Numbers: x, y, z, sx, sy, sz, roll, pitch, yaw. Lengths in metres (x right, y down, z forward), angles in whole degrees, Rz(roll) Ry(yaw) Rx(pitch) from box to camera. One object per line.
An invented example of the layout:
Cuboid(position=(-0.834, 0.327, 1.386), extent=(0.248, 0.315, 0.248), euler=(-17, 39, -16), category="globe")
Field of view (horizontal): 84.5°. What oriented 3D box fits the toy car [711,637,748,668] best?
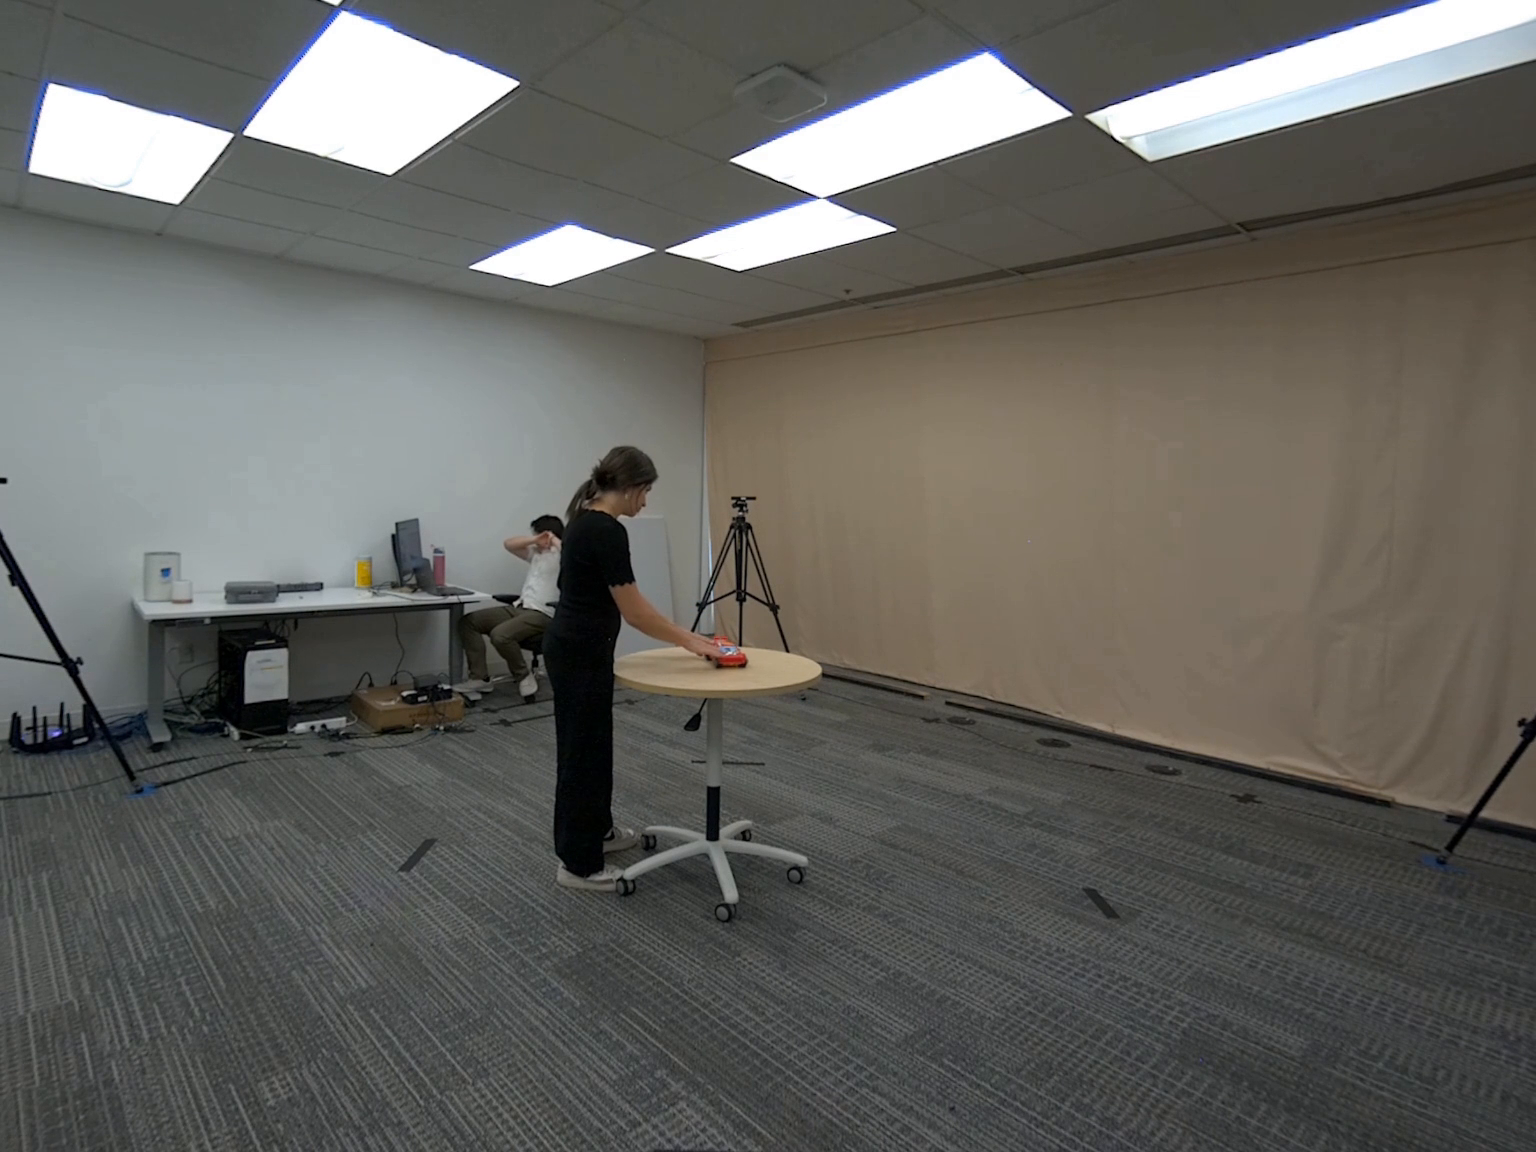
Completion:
Cuboid(position=(-0.171, 0.286, 3.108), extent=(0.129, 0.082, 0.260), euler=(0, 17, -16), category="toy car")
